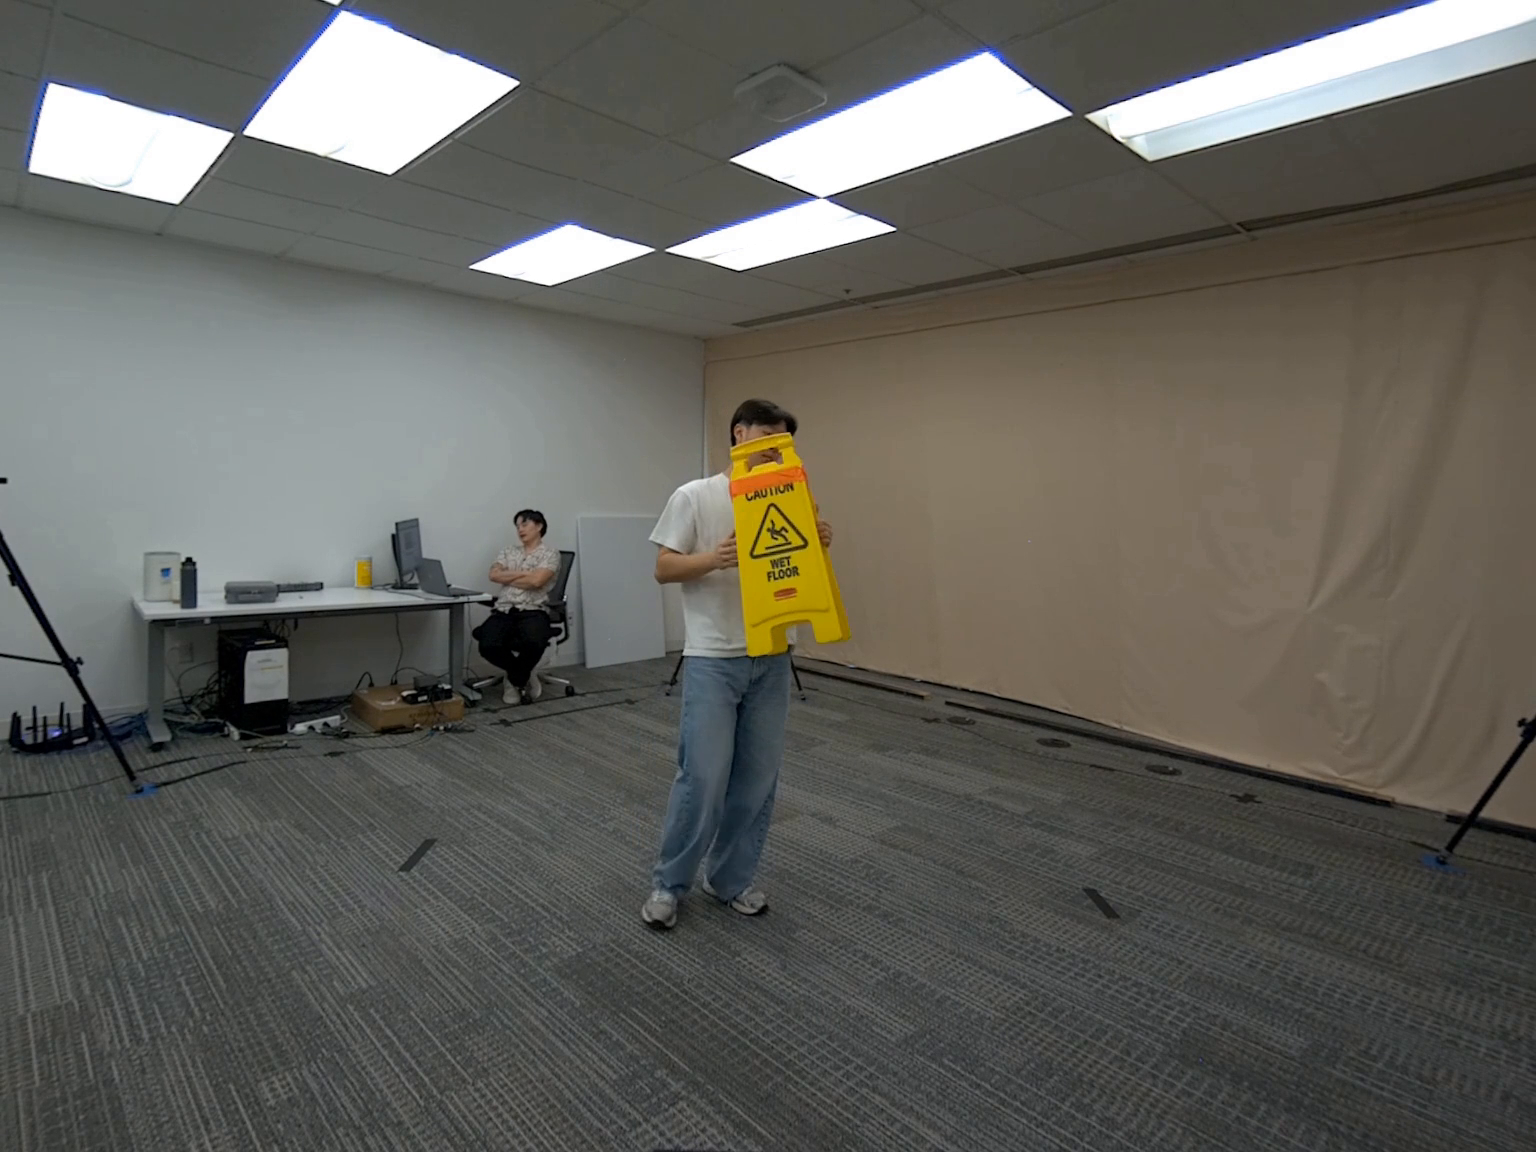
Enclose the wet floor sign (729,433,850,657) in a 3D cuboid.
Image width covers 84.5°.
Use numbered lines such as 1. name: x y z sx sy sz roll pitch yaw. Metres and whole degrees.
1. wet floor sign: 0.029 -0.101 2.546 0.284 0.651 0.285 -13 -8 13
